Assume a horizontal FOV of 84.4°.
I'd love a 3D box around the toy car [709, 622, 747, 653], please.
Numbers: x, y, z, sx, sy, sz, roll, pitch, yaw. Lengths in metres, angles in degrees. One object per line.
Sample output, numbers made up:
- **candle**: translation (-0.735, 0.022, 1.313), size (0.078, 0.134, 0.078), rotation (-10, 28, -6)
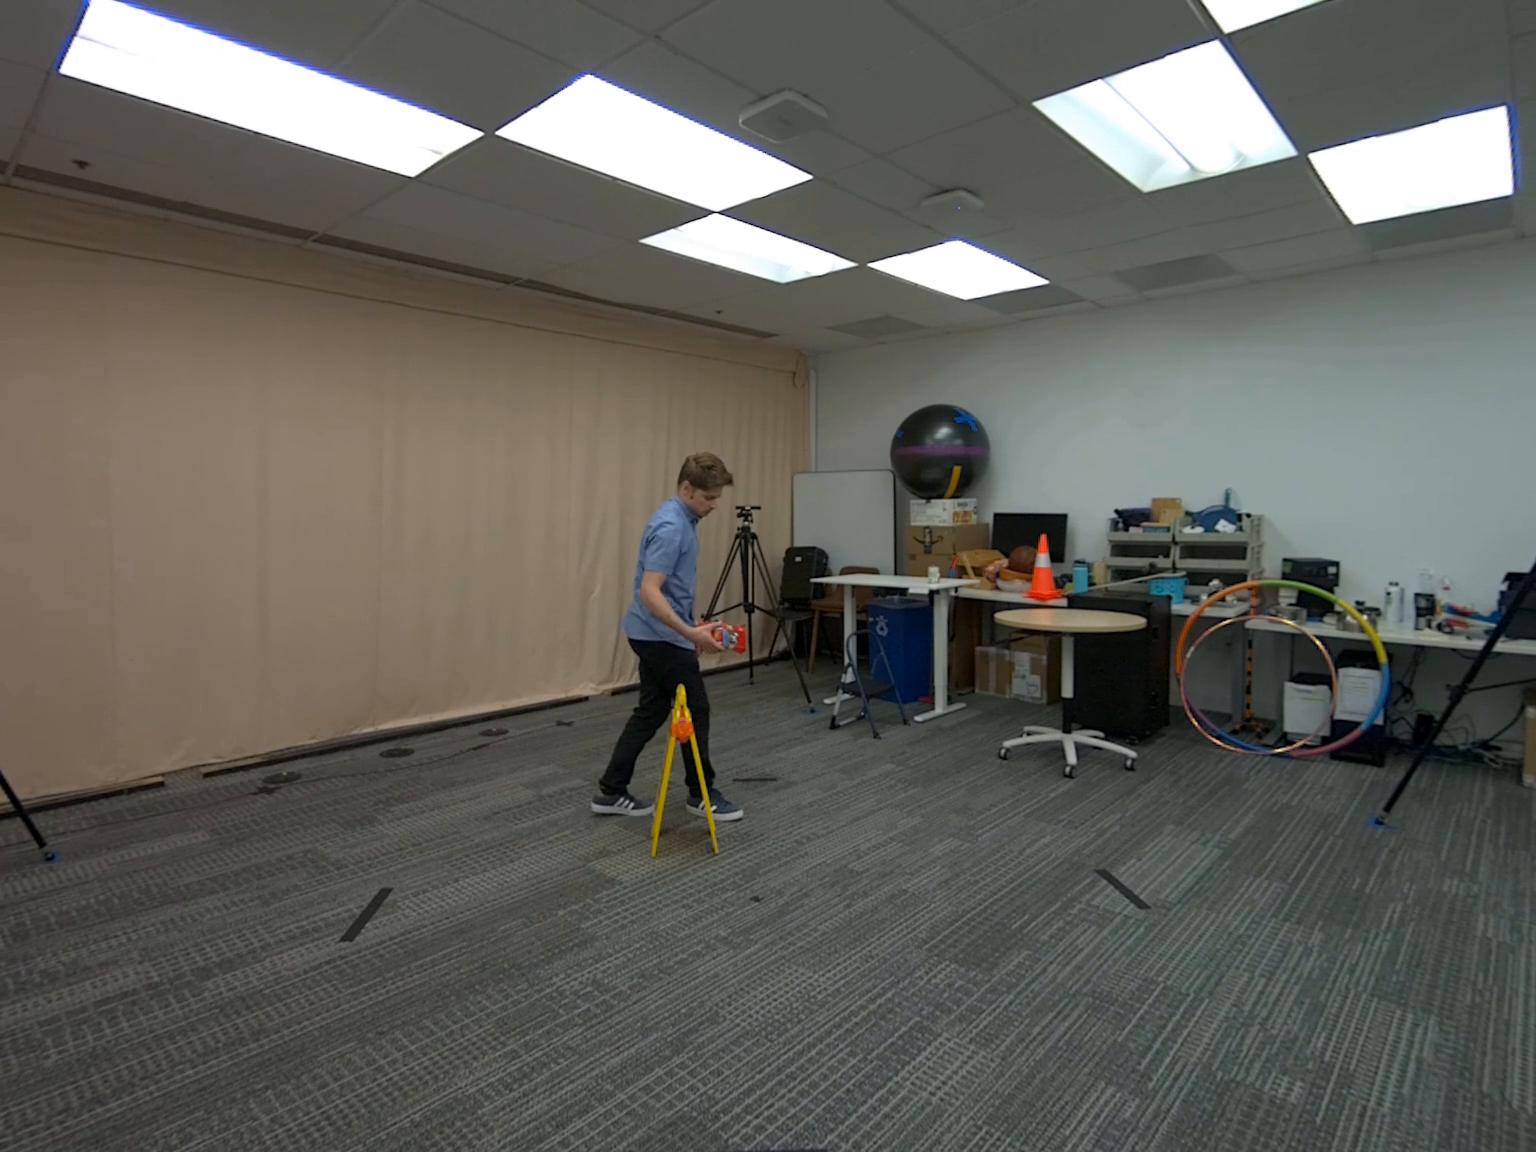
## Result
- **toy car**: translation (-0.199, 0.246, 3.468), size (0.262, 0.130, 0.081), rotation (3, 6, 31)
